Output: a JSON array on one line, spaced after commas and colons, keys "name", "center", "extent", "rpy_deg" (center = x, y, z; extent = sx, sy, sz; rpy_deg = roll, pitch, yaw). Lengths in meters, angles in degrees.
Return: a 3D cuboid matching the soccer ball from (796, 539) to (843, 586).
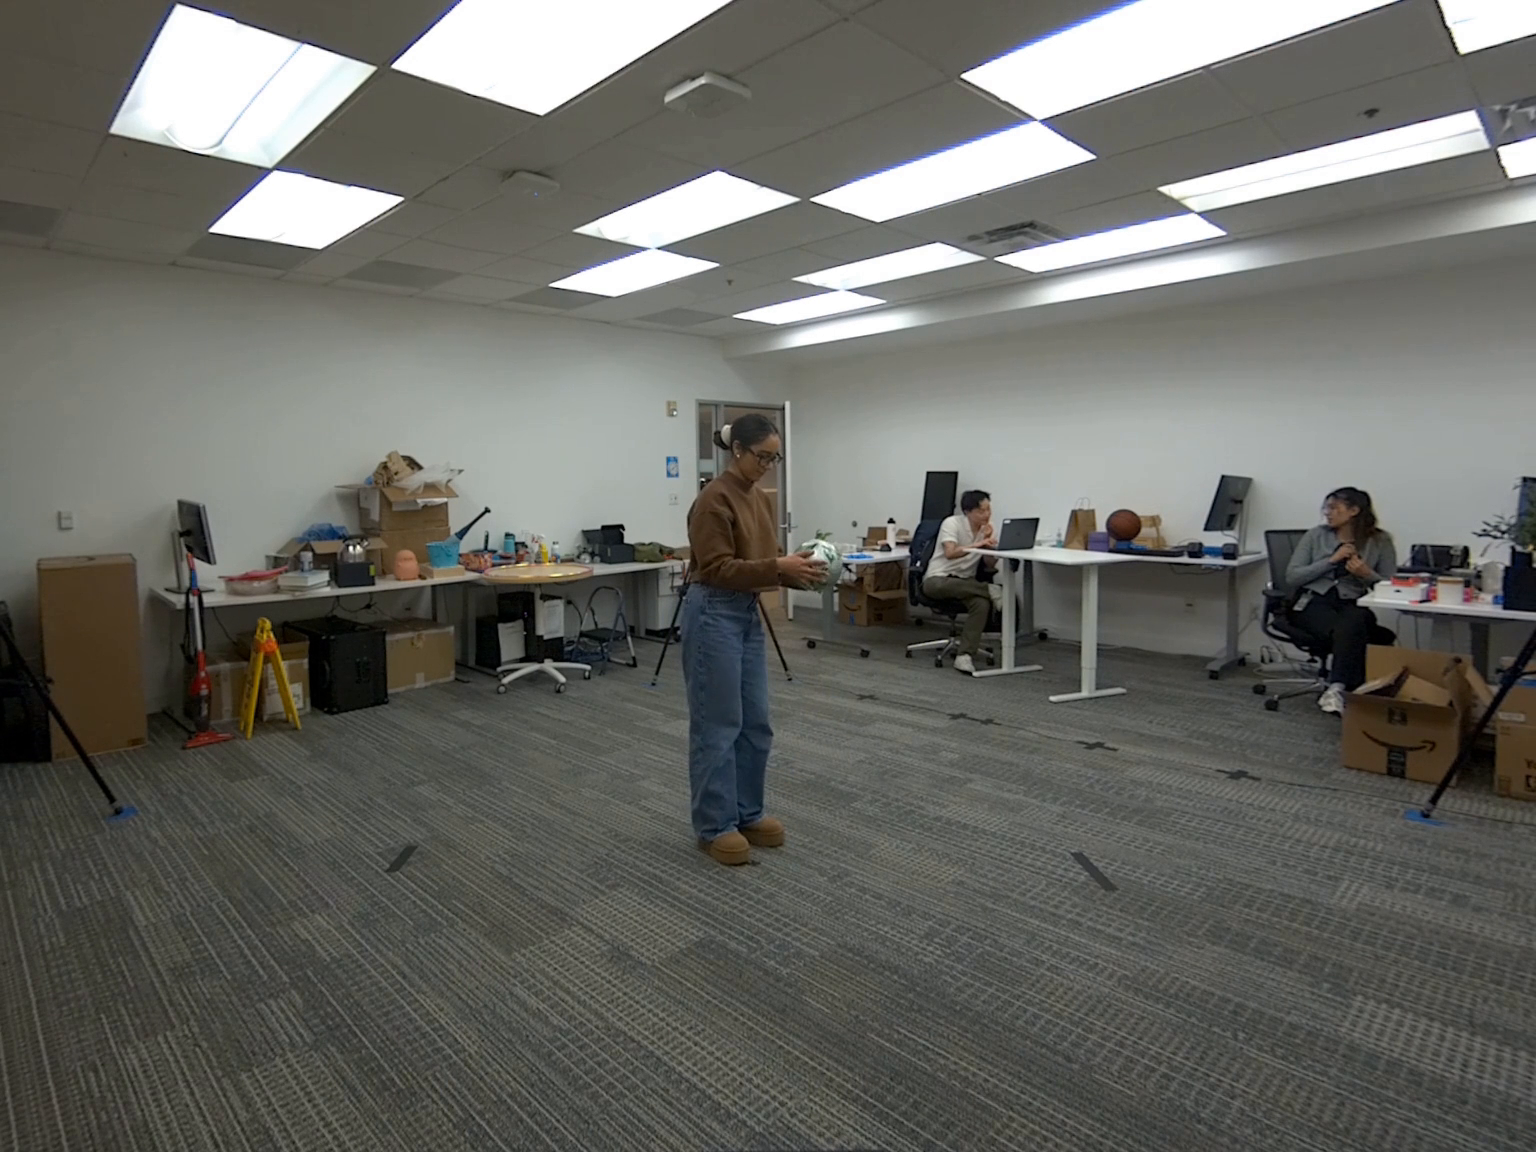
[{"name": "soccer ball", "center": [0.172, -0.040, 3.068], "extent": [0.187, 0.187, 0.188], "rpy_deg": [-1, 5, -2]}]
